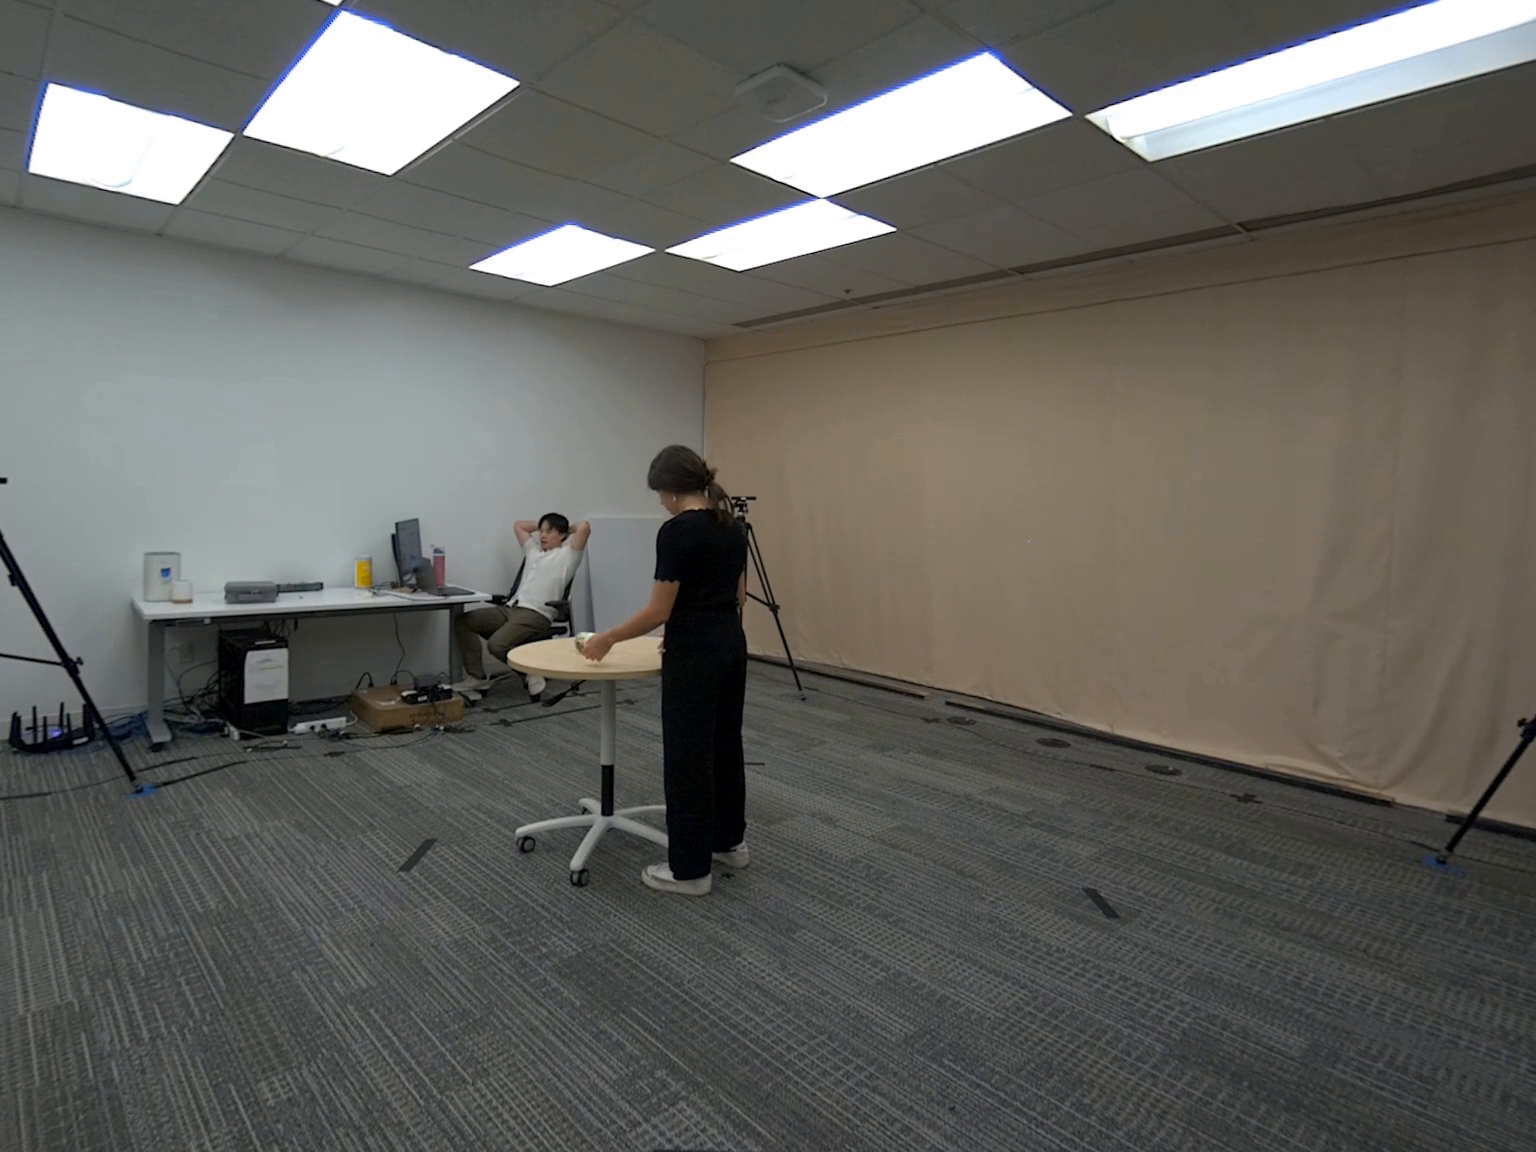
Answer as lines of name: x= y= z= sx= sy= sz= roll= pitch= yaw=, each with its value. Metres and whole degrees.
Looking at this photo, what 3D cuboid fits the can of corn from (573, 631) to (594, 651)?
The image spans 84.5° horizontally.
can of corn: x=-0.680 y=0.257 z=3.257 sx=0.113 sy=0.074 sz=0.073 roll=5 pitch=5 yaw=25
